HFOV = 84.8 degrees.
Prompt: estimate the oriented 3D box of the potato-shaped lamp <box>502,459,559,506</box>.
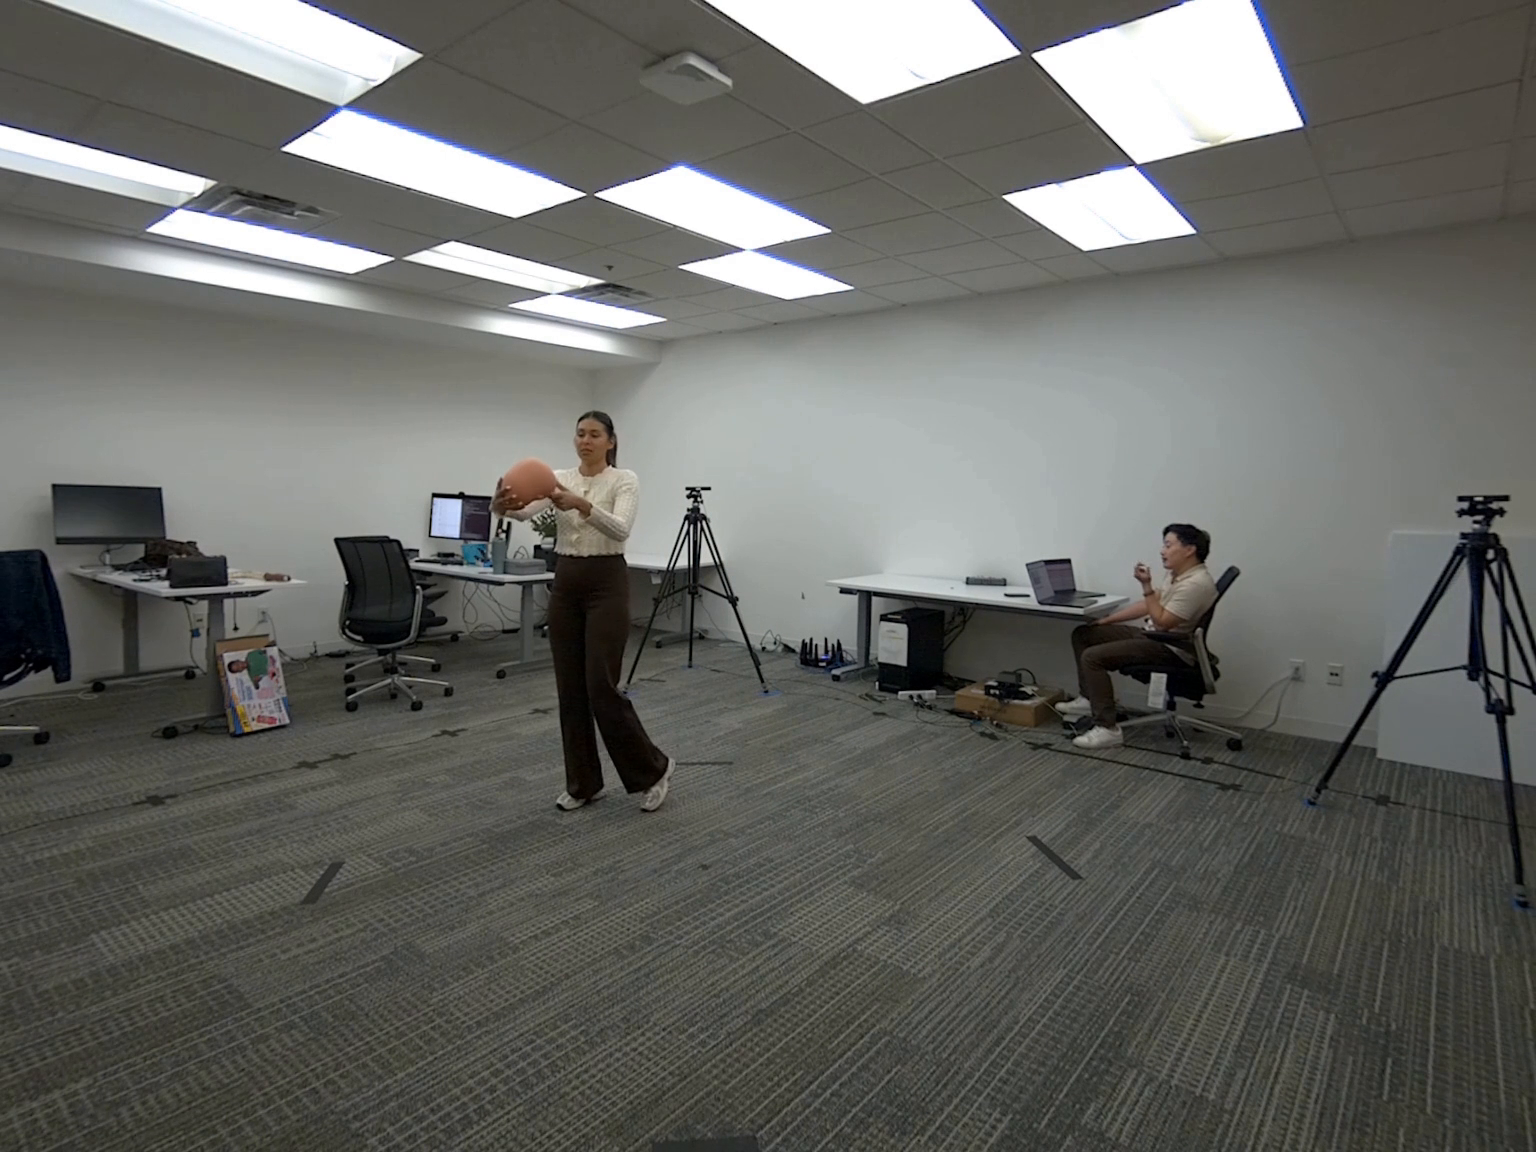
[{"bbox_3d":[-0.928,-0.356,3.241,0.197,0.159,0.178,-43,33,-21],"label":"potato-shaped lamp"}]
